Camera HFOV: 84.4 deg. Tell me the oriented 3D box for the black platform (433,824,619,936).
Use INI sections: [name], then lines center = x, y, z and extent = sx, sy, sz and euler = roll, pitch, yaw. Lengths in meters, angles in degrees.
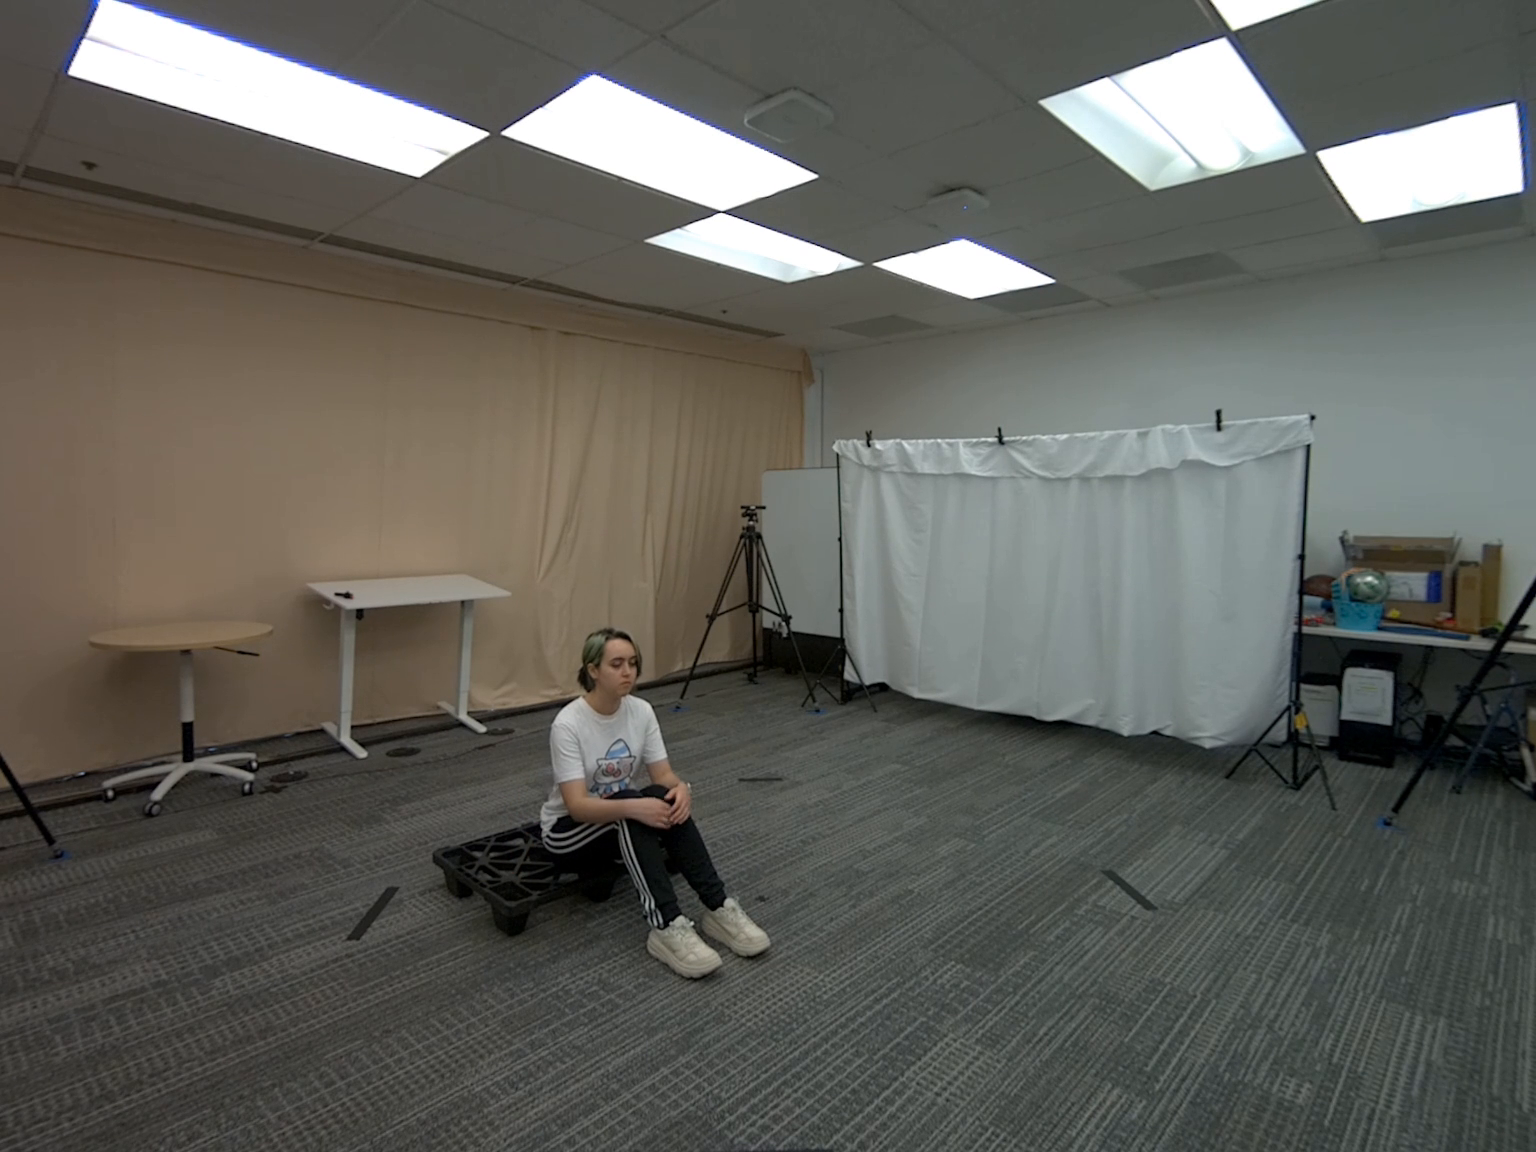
[black platform]
center = -0.744, 1.070, 3.143
extent = 0.781, 0.143, 0.625
euler = -5, 7, -43
